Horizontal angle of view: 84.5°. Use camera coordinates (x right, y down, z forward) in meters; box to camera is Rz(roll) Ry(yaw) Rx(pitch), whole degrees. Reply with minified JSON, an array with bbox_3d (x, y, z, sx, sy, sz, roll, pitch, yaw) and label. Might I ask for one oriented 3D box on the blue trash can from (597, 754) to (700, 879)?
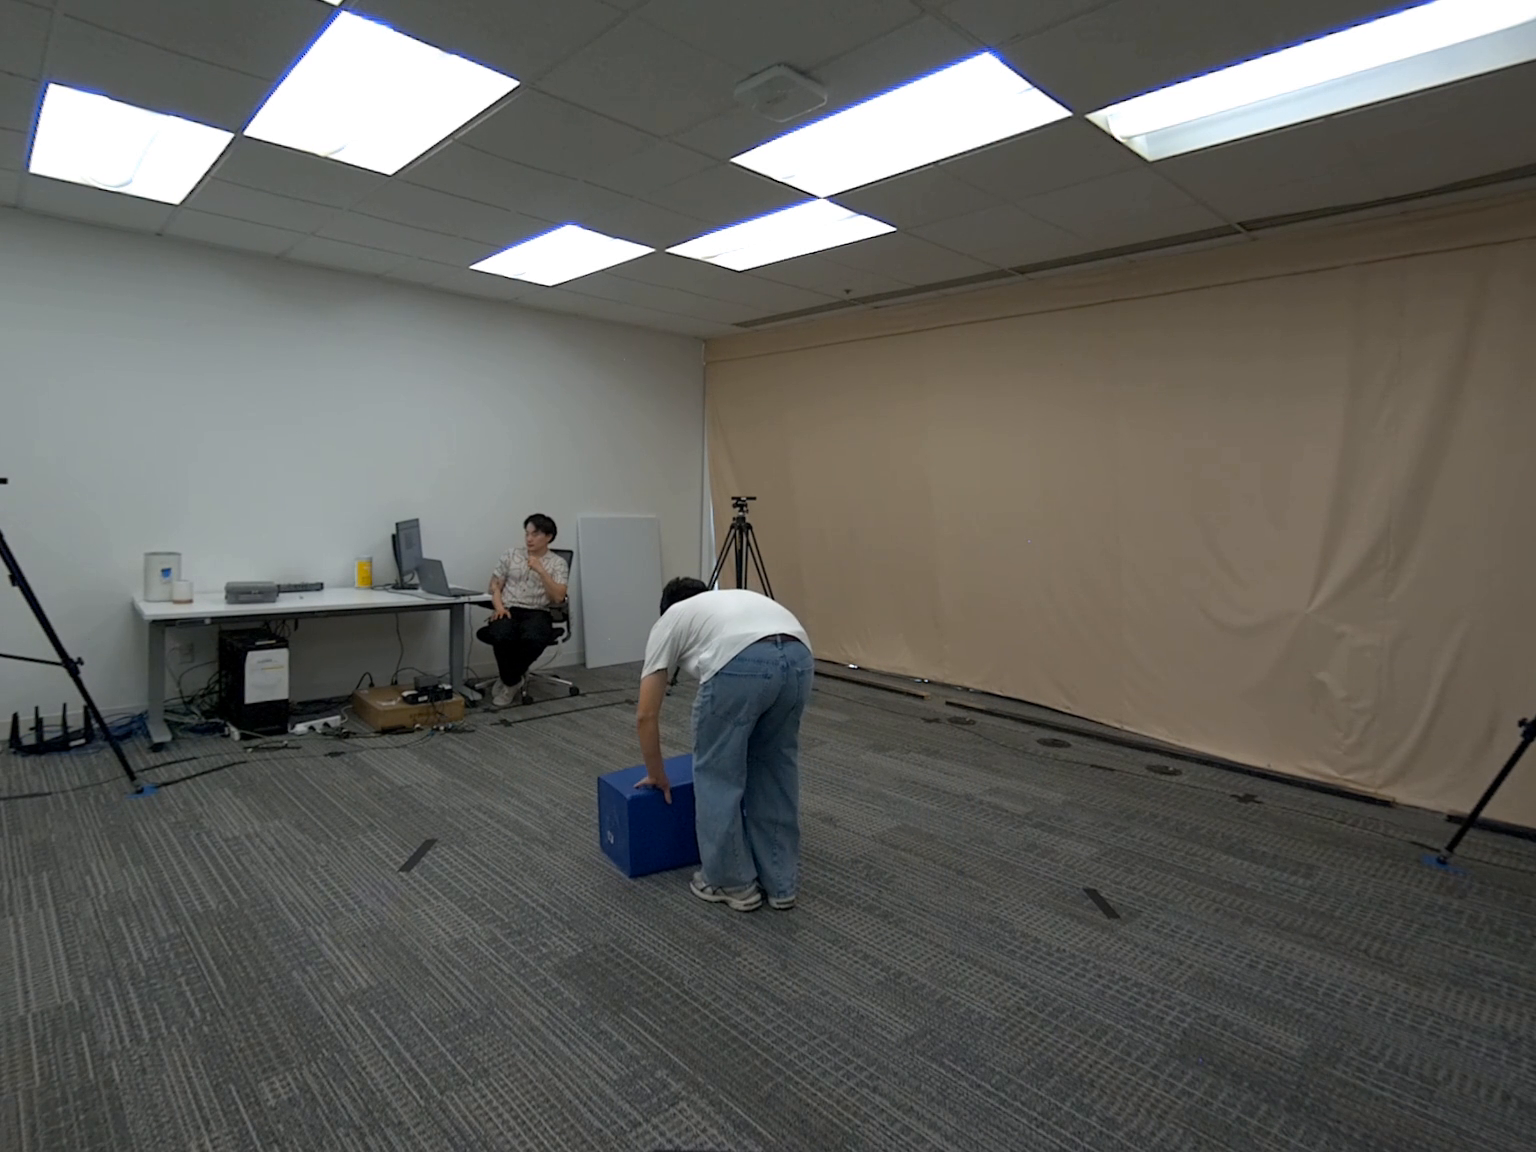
[{"bbox_3d":[-0.286,0.922,3.344,0.700,0.377,0.382,-5,6,-31],"label":"blue trash can"}]
